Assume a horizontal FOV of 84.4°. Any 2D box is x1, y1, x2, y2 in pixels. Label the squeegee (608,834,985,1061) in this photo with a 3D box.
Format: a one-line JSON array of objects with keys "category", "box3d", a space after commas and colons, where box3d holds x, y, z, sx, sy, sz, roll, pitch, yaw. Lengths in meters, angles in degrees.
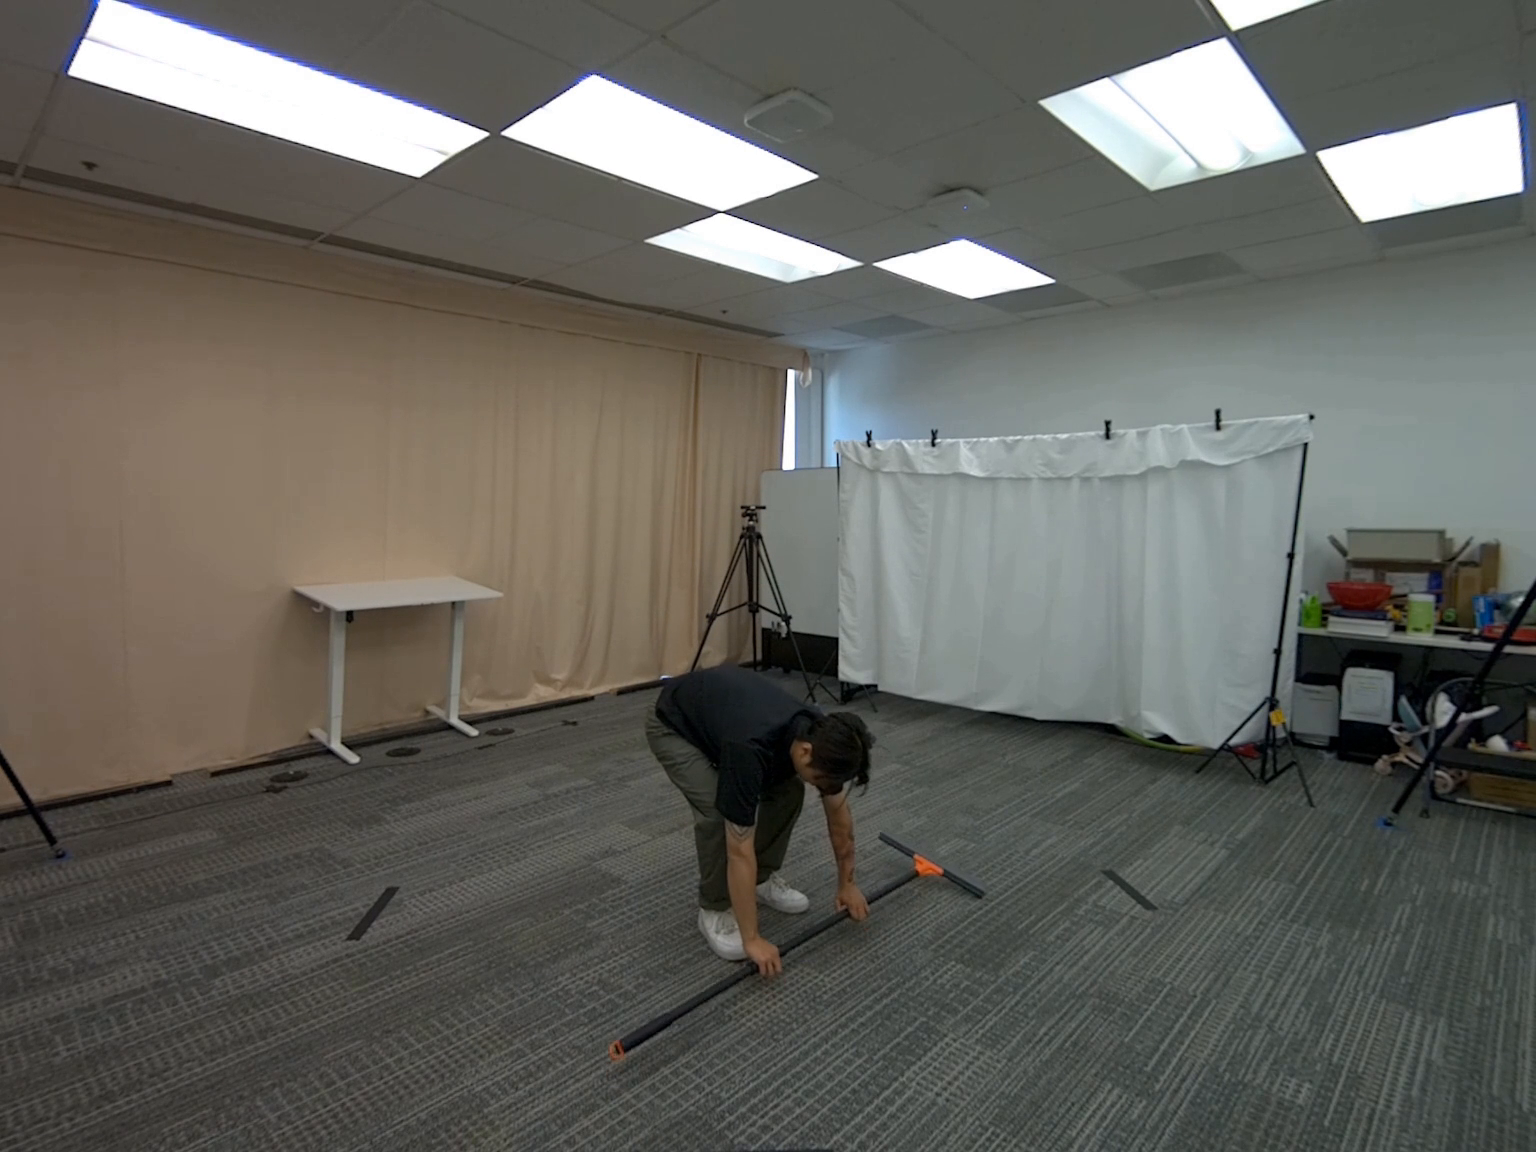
[{"category": "squeegee", "box3d": [0.128, 1.095, 2.585, 0.453, 0.052, 1.491, 21, 17, 39]}]
